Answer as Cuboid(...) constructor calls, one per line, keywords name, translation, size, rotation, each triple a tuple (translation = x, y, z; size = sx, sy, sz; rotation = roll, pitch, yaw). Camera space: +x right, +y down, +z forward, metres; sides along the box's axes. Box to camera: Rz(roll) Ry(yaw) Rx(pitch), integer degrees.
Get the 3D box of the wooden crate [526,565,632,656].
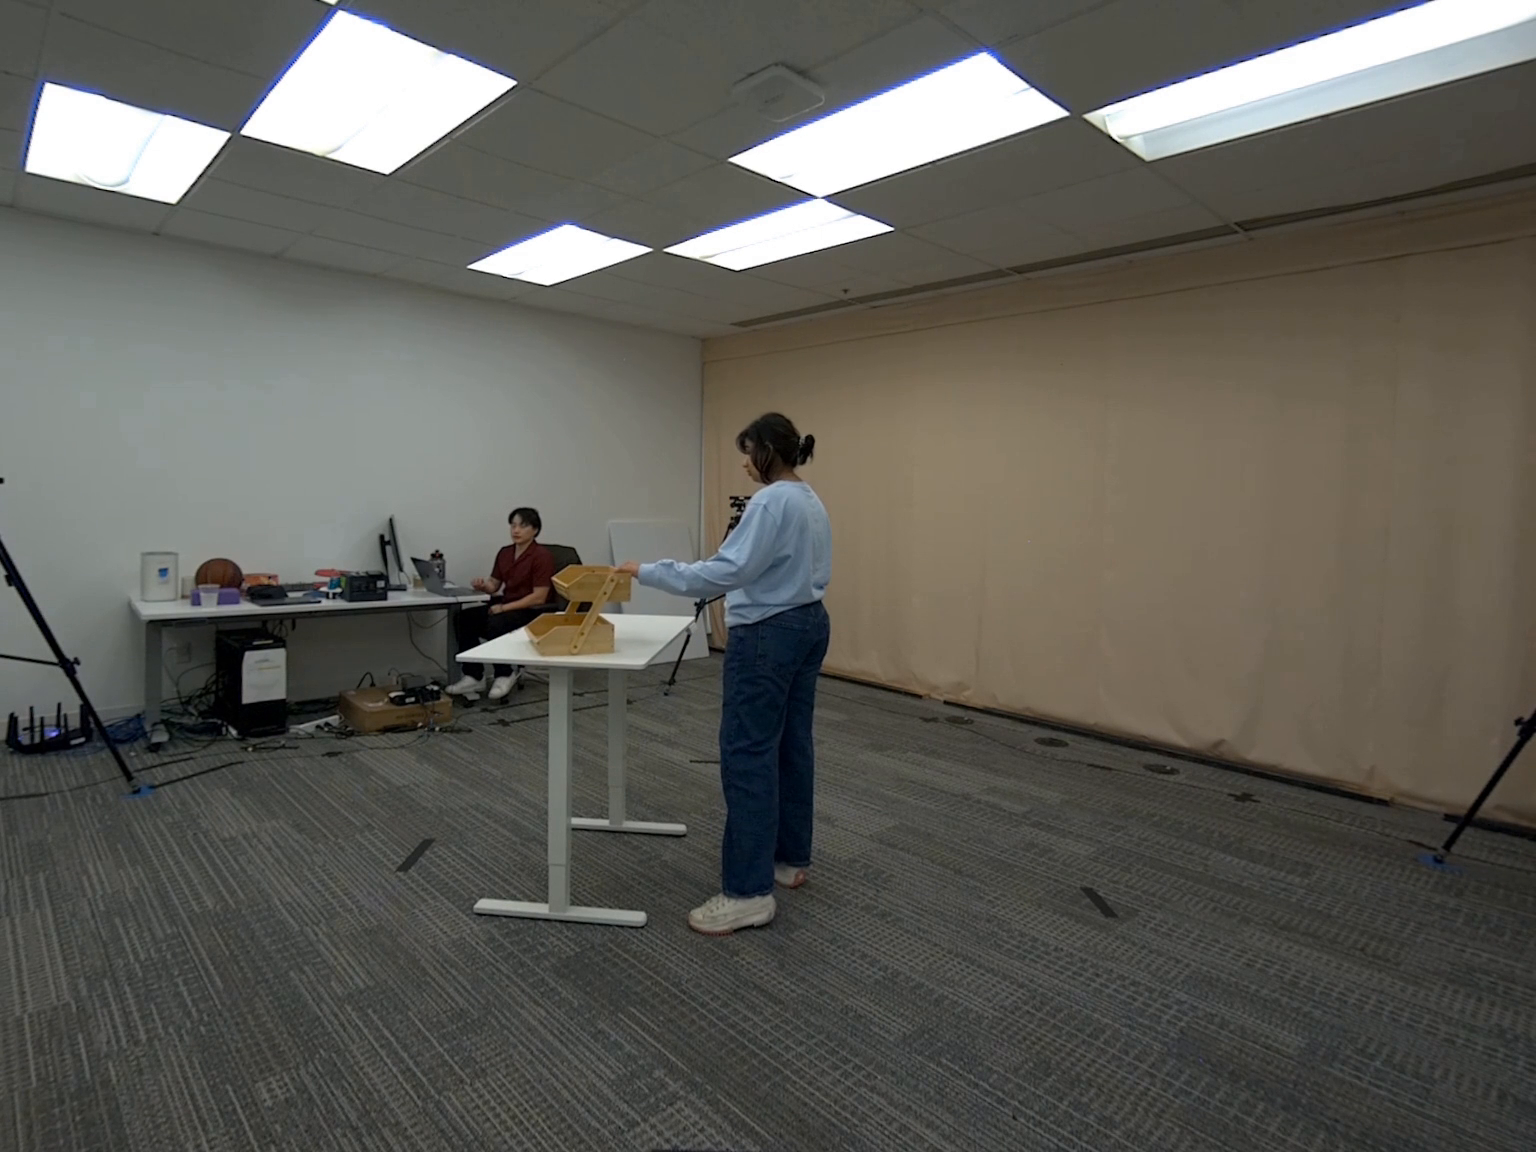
Cuboid(name="wooden crate", translation=(-0.652, 0.108, 2.815), size=(0.297, 0.272, 0.330), rotation=(0, 4, -21))
